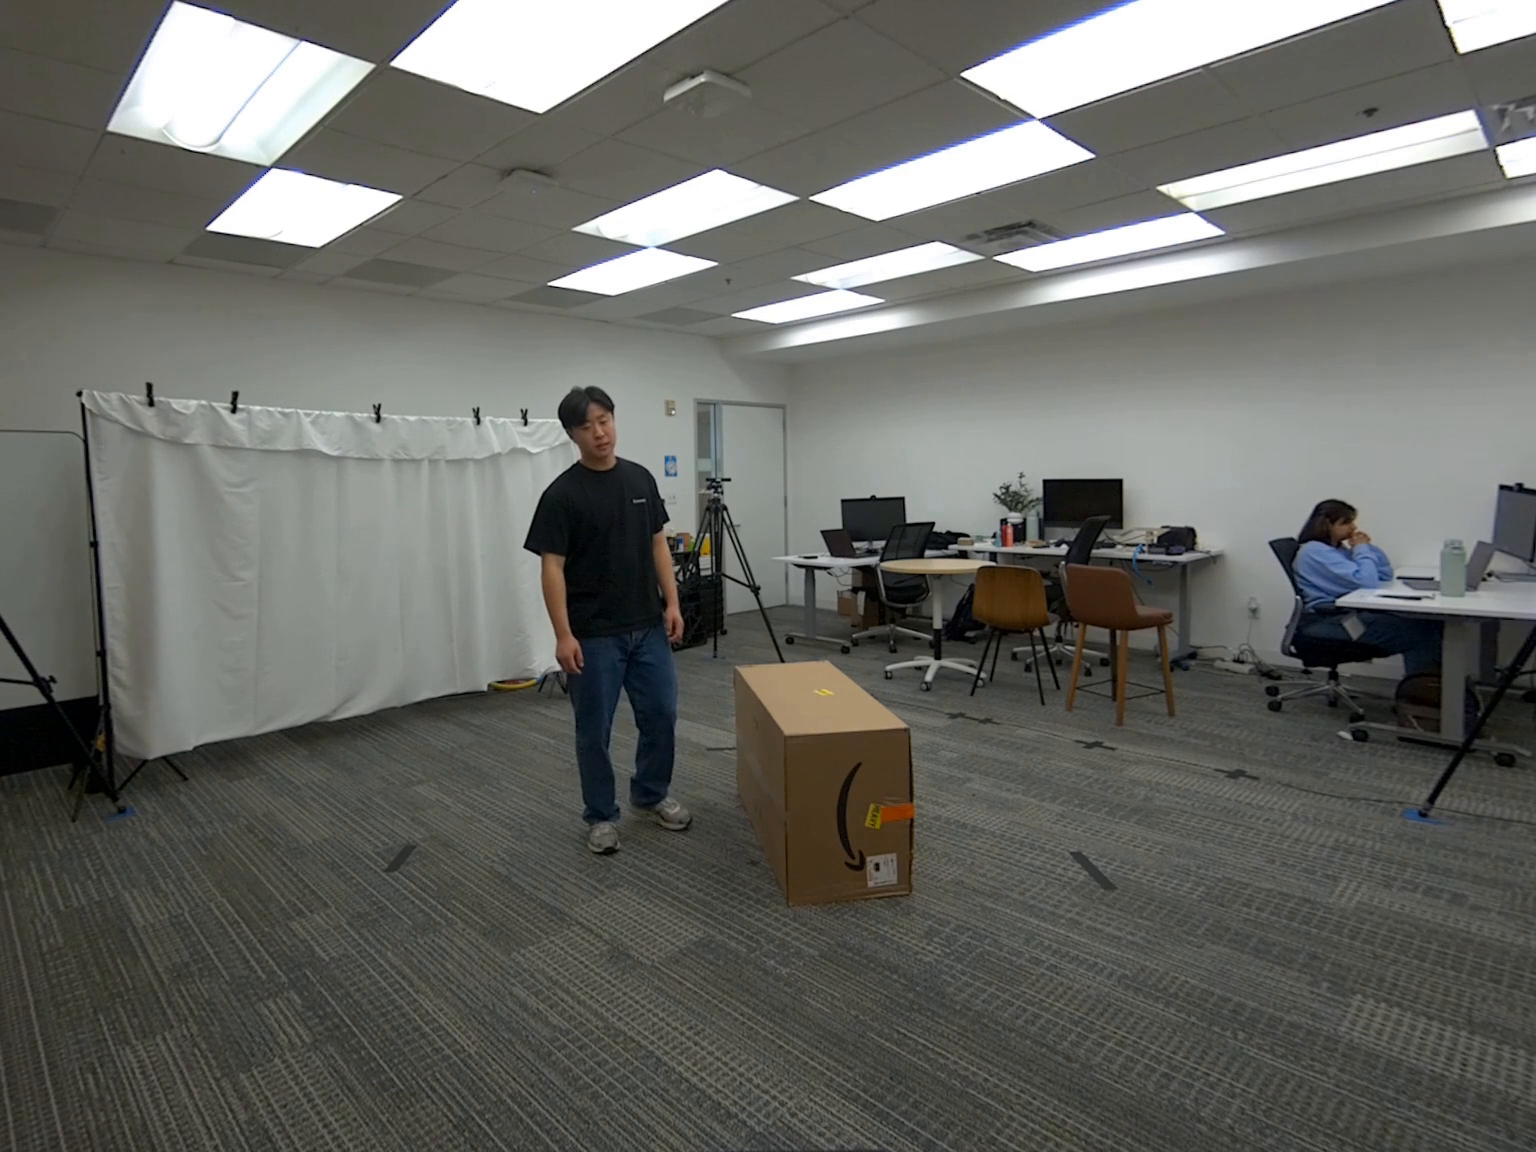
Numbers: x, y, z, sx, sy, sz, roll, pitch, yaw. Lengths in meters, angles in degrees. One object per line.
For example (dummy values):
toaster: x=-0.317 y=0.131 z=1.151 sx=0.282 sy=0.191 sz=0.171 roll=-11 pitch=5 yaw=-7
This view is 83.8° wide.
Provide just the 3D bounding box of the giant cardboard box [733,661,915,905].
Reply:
giant cardboard box: x=0.172 y=0.729 z=3.297 sx=0.442 sy=0.581 sz=1.042 roll=-1 pitch=6 yaw=-11
